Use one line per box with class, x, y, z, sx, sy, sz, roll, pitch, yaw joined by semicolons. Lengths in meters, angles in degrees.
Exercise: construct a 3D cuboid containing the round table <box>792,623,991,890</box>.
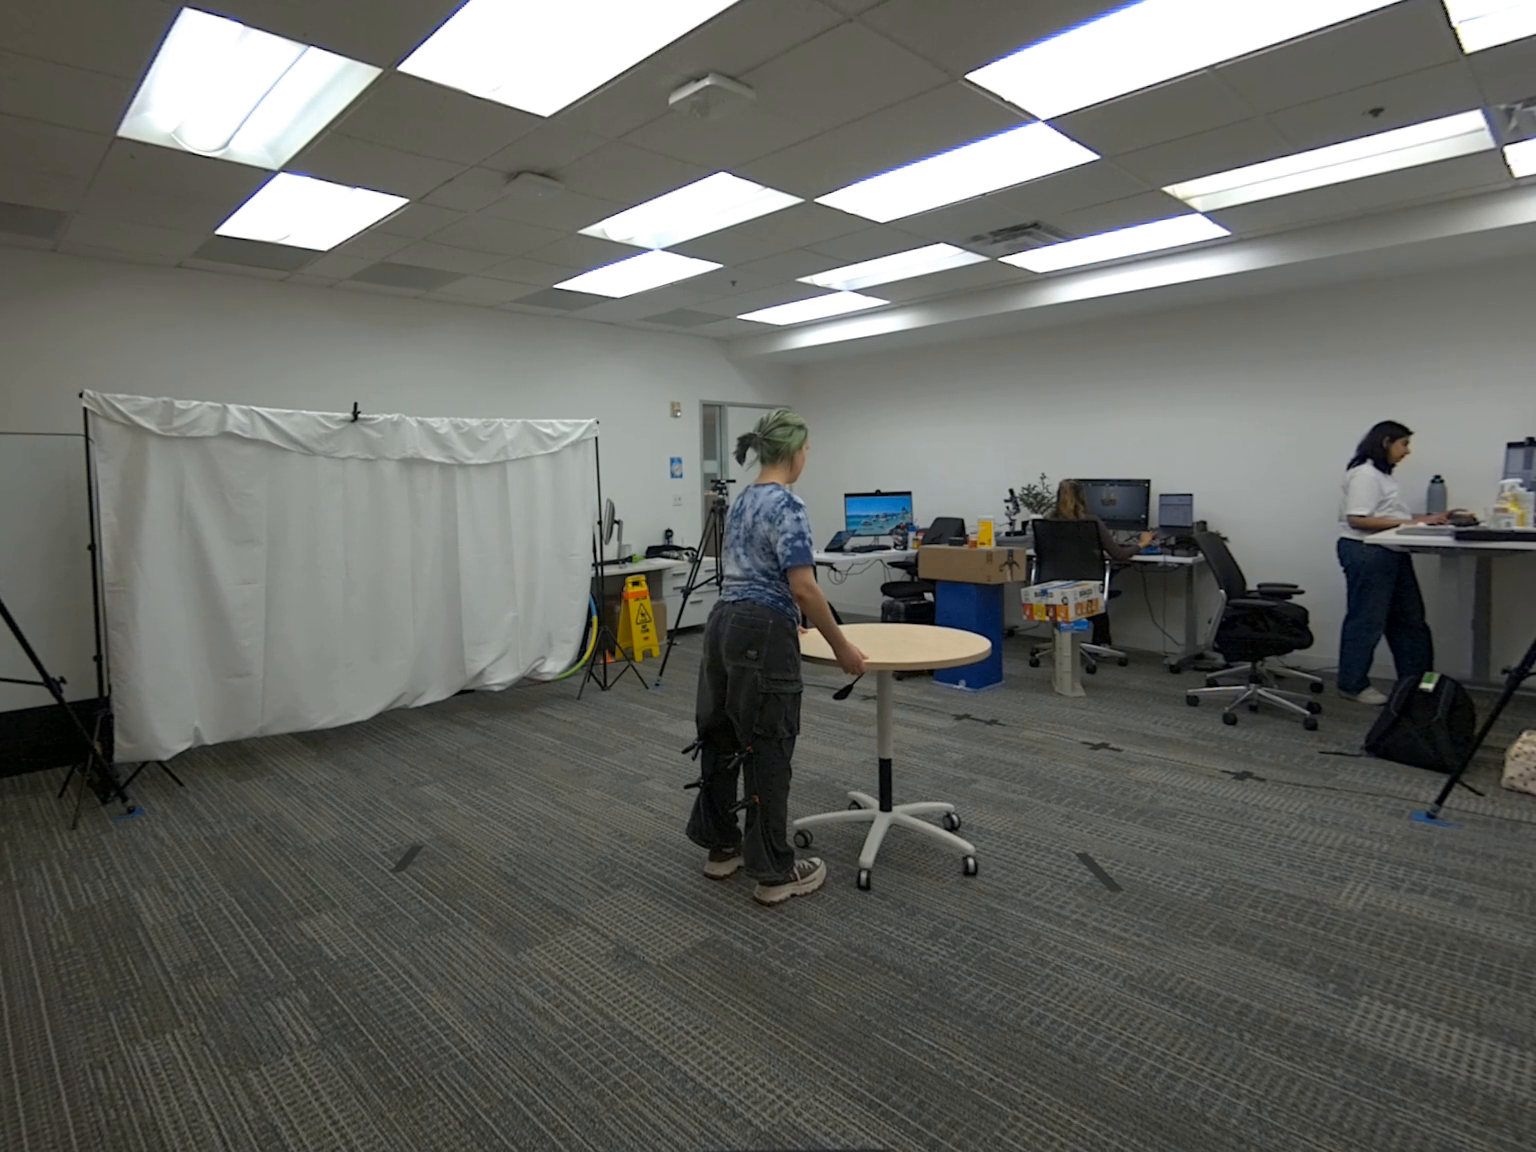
round table;0.438;0.637;3.209;0.763;0.791;0.768;-1;5;-2
